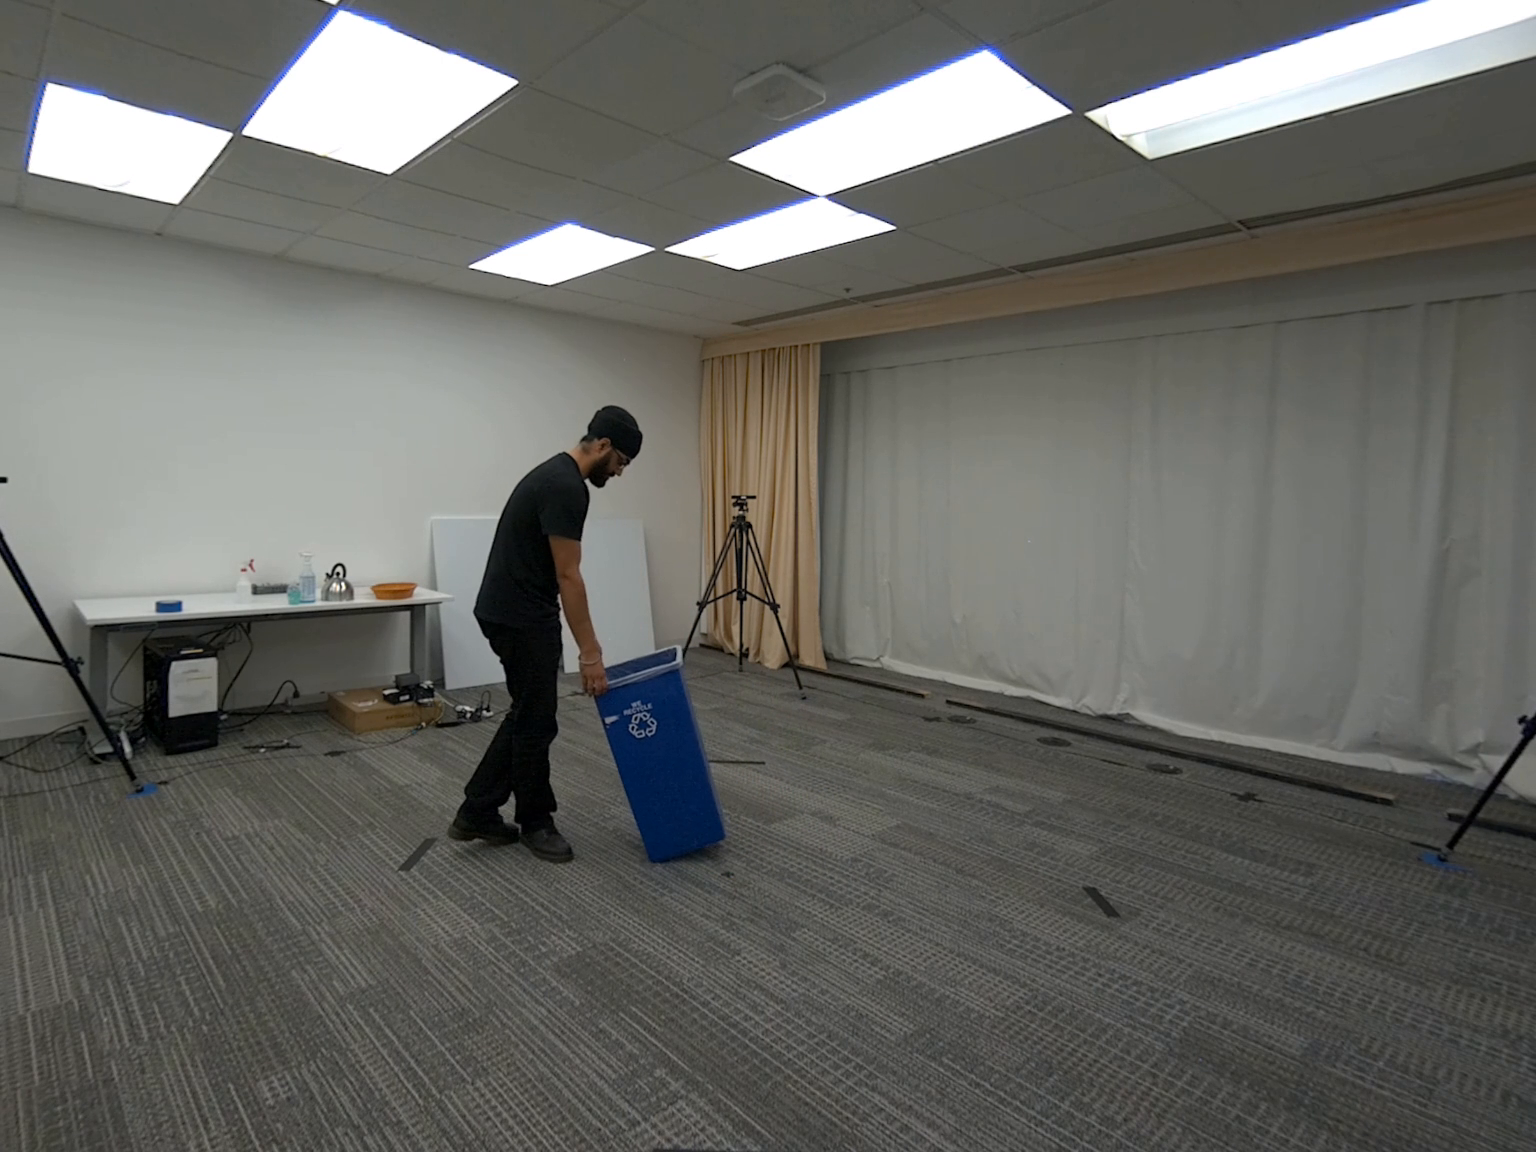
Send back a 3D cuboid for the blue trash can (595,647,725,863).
[{"bbox_3d":[-0.433,0.694,3.302,0.373,0.711,0.380,-15,4,-5],"label":"blue trash can"}]
